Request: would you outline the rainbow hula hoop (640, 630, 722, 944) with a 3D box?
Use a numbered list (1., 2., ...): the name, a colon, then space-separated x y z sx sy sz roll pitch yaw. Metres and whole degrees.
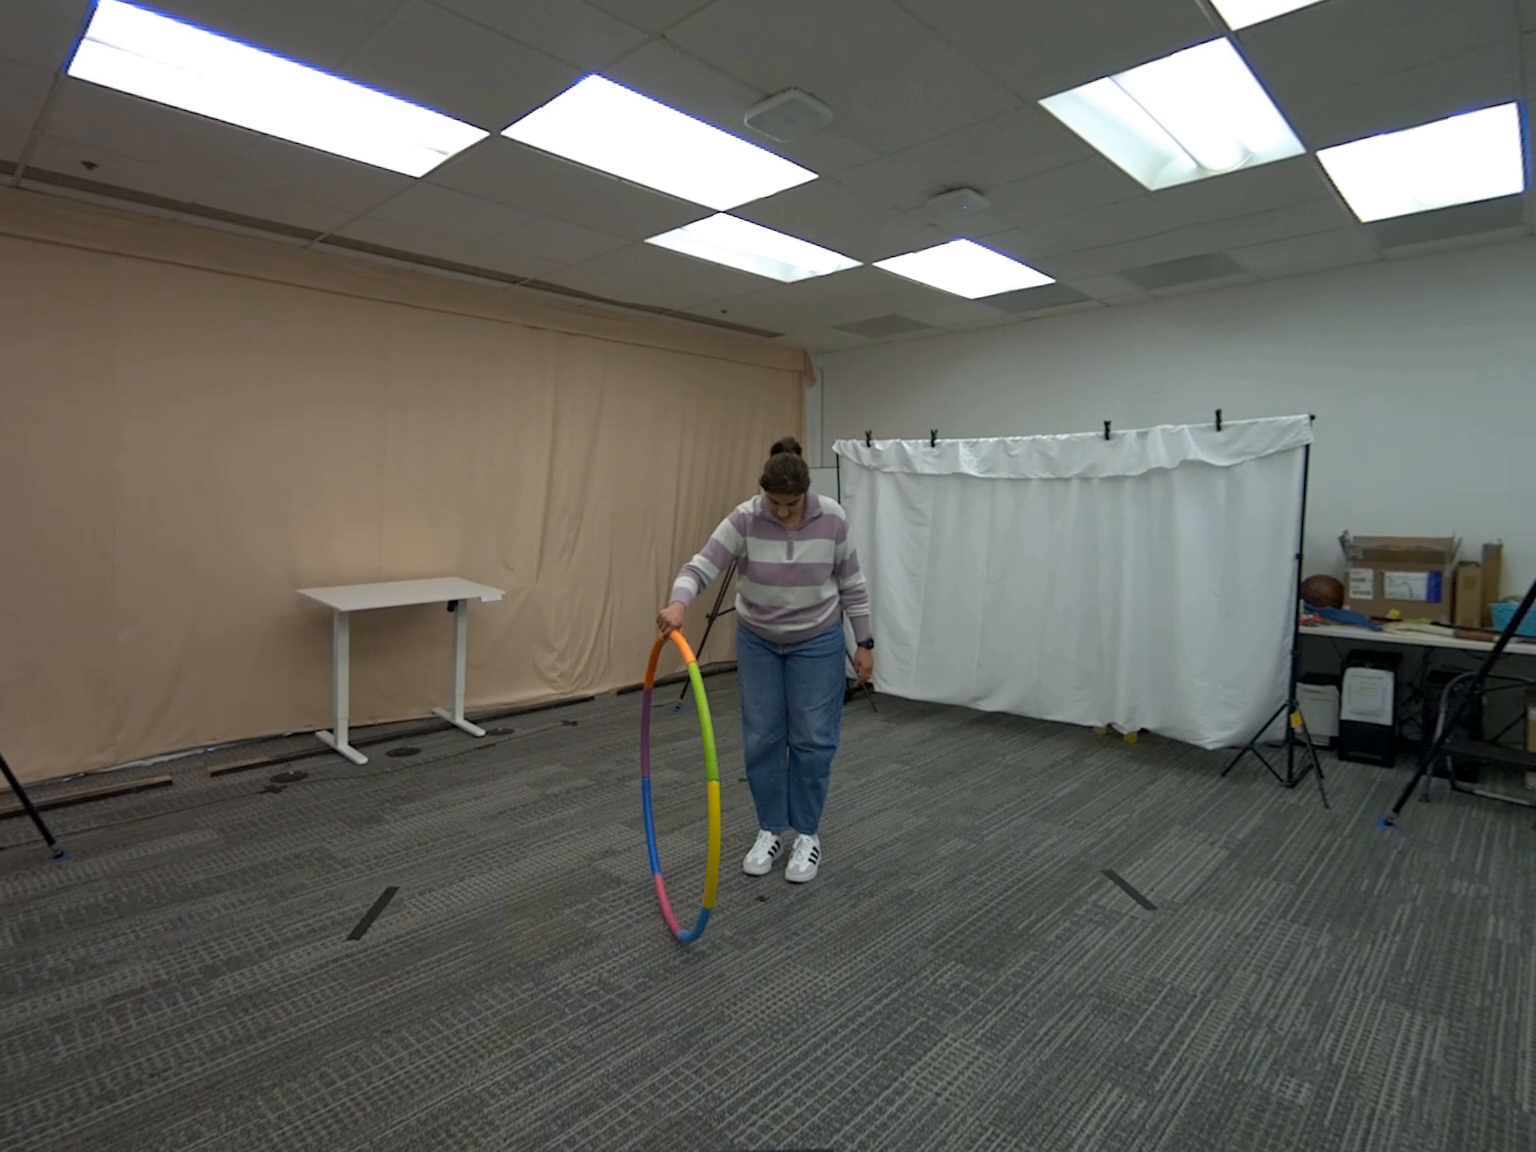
1. rainbow hula hoop: -0.305 0.674 2.786 0.035 0.977 0.998 1 3 -19
